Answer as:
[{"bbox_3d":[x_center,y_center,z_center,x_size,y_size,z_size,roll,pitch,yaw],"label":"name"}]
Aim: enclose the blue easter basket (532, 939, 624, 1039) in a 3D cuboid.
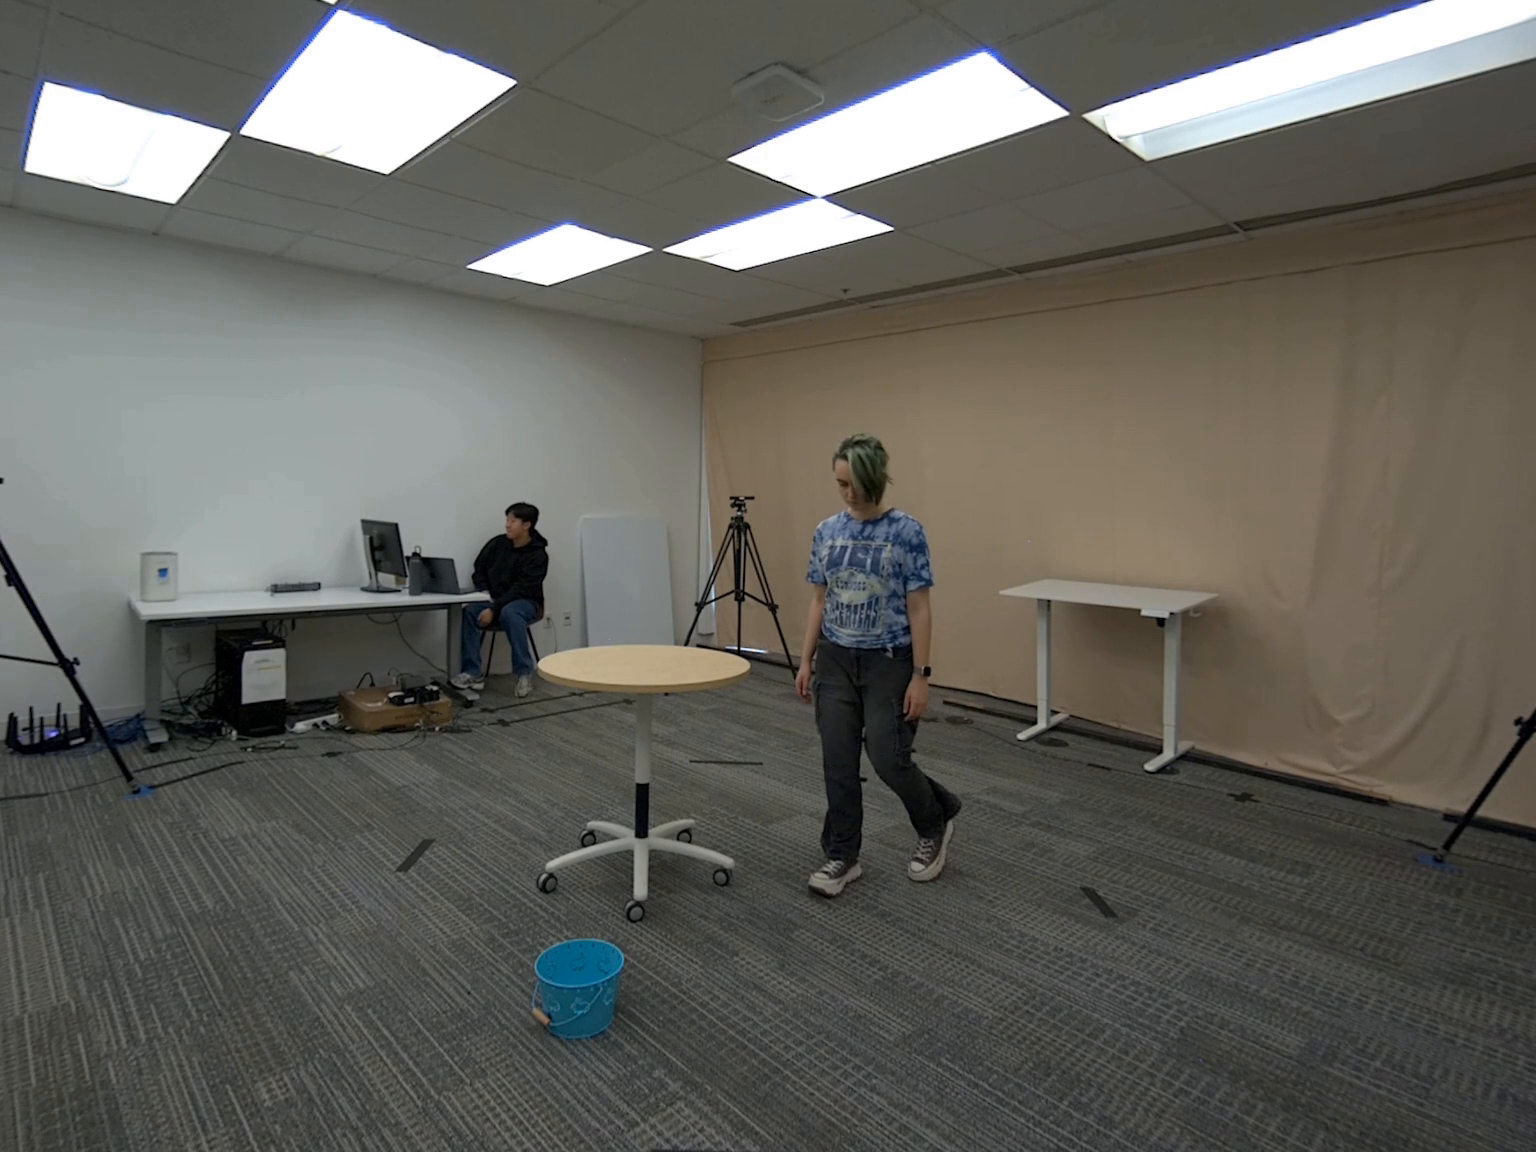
[{"bbox_3d":[-0.513,1.100,2.233,0.243,0.155,0.244,2,5,-1],"label":"blue easter basket"}]
